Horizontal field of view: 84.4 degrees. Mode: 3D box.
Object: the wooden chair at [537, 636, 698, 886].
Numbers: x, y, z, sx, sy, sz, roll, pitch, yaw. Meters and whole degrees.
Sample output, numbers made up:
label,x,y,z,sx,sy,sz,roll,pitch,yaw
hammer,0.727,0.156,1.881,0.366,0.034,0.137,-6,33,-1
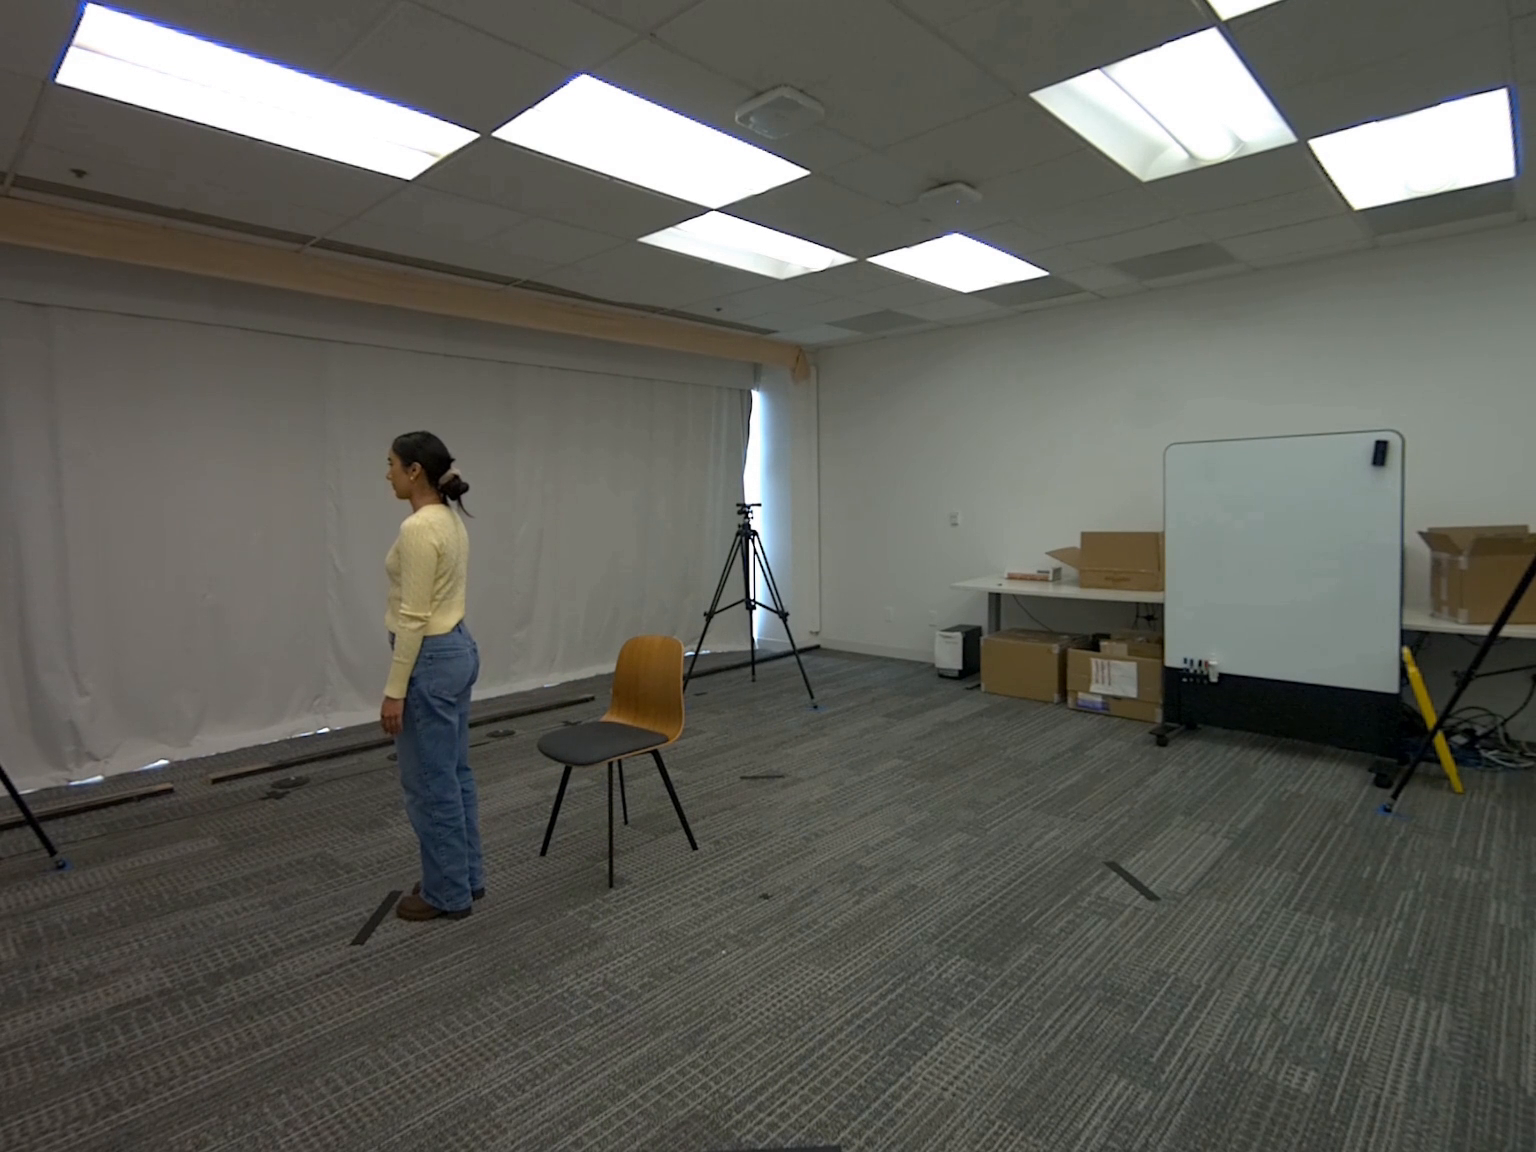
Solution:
label,x,y,z,sx,sy,sz,roll,pitch,yaw
wooden chair,-0.610,0.690,3.356,0.494,0.877,0.506,2,1,42
